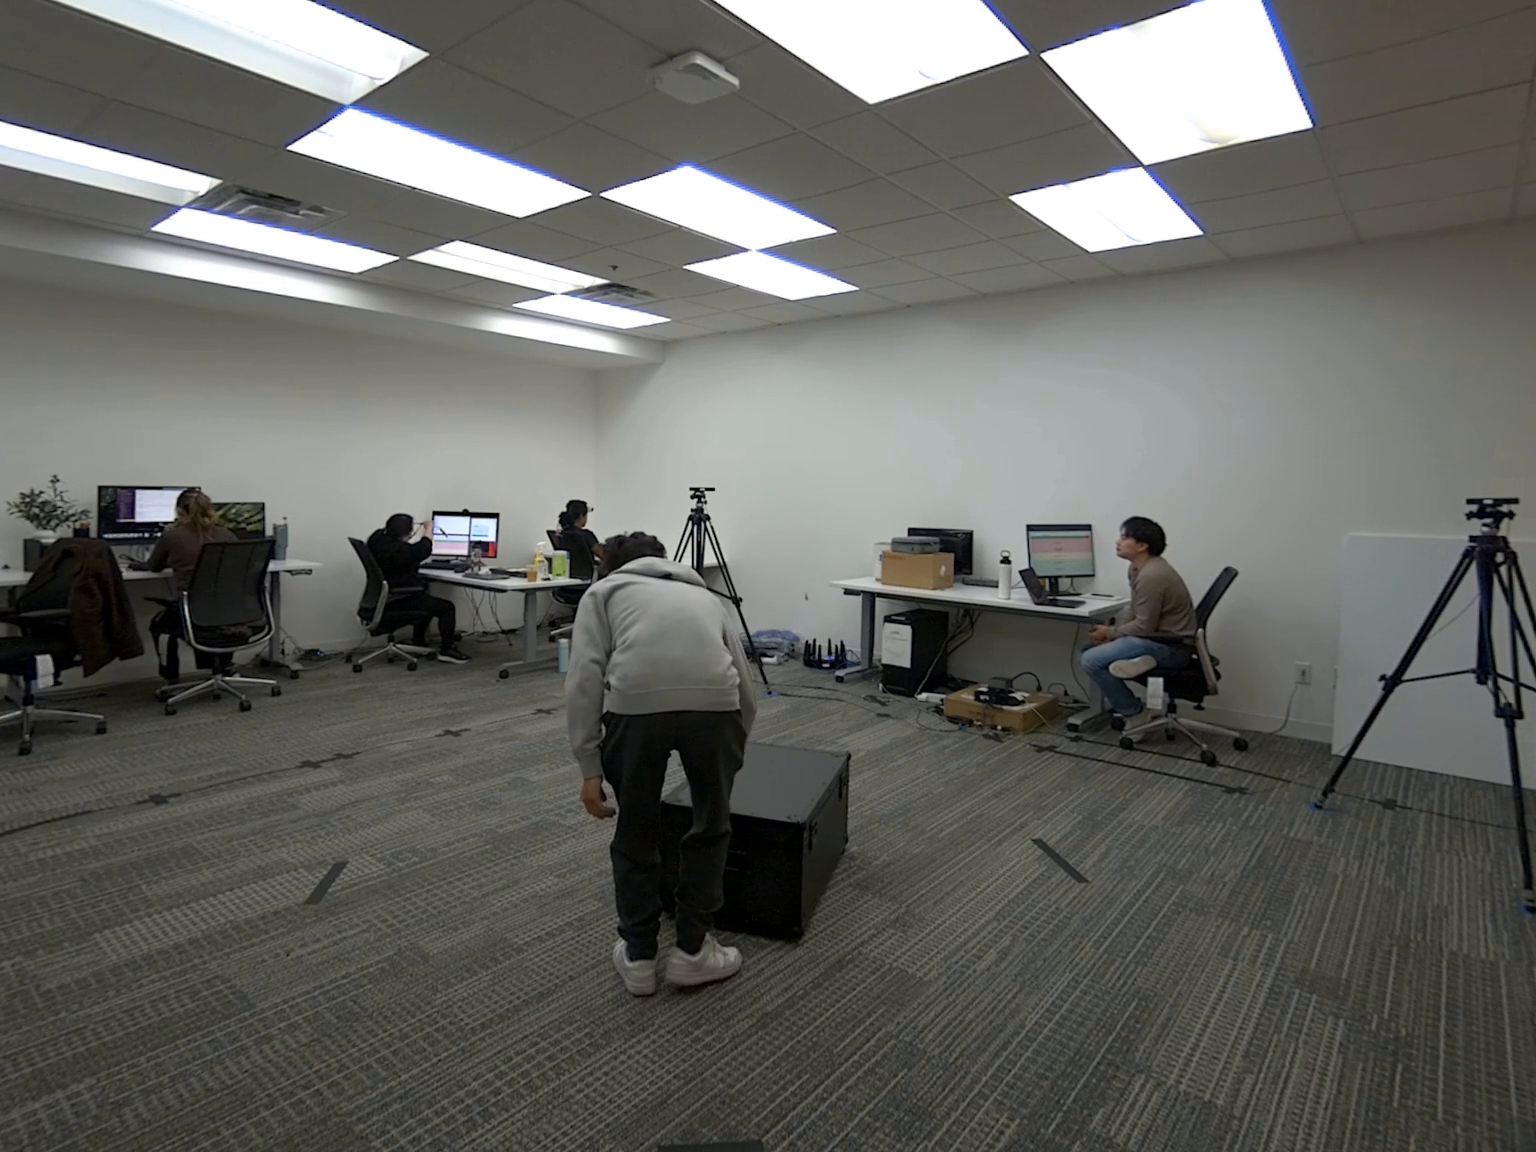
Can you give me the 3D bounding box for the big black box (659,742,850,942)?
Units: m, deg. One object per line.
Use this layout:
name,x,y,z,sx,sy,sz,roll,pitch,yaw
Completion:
big black box,-0.040,0.889,2.991,0.531,0.395,0.848,2,4,17
